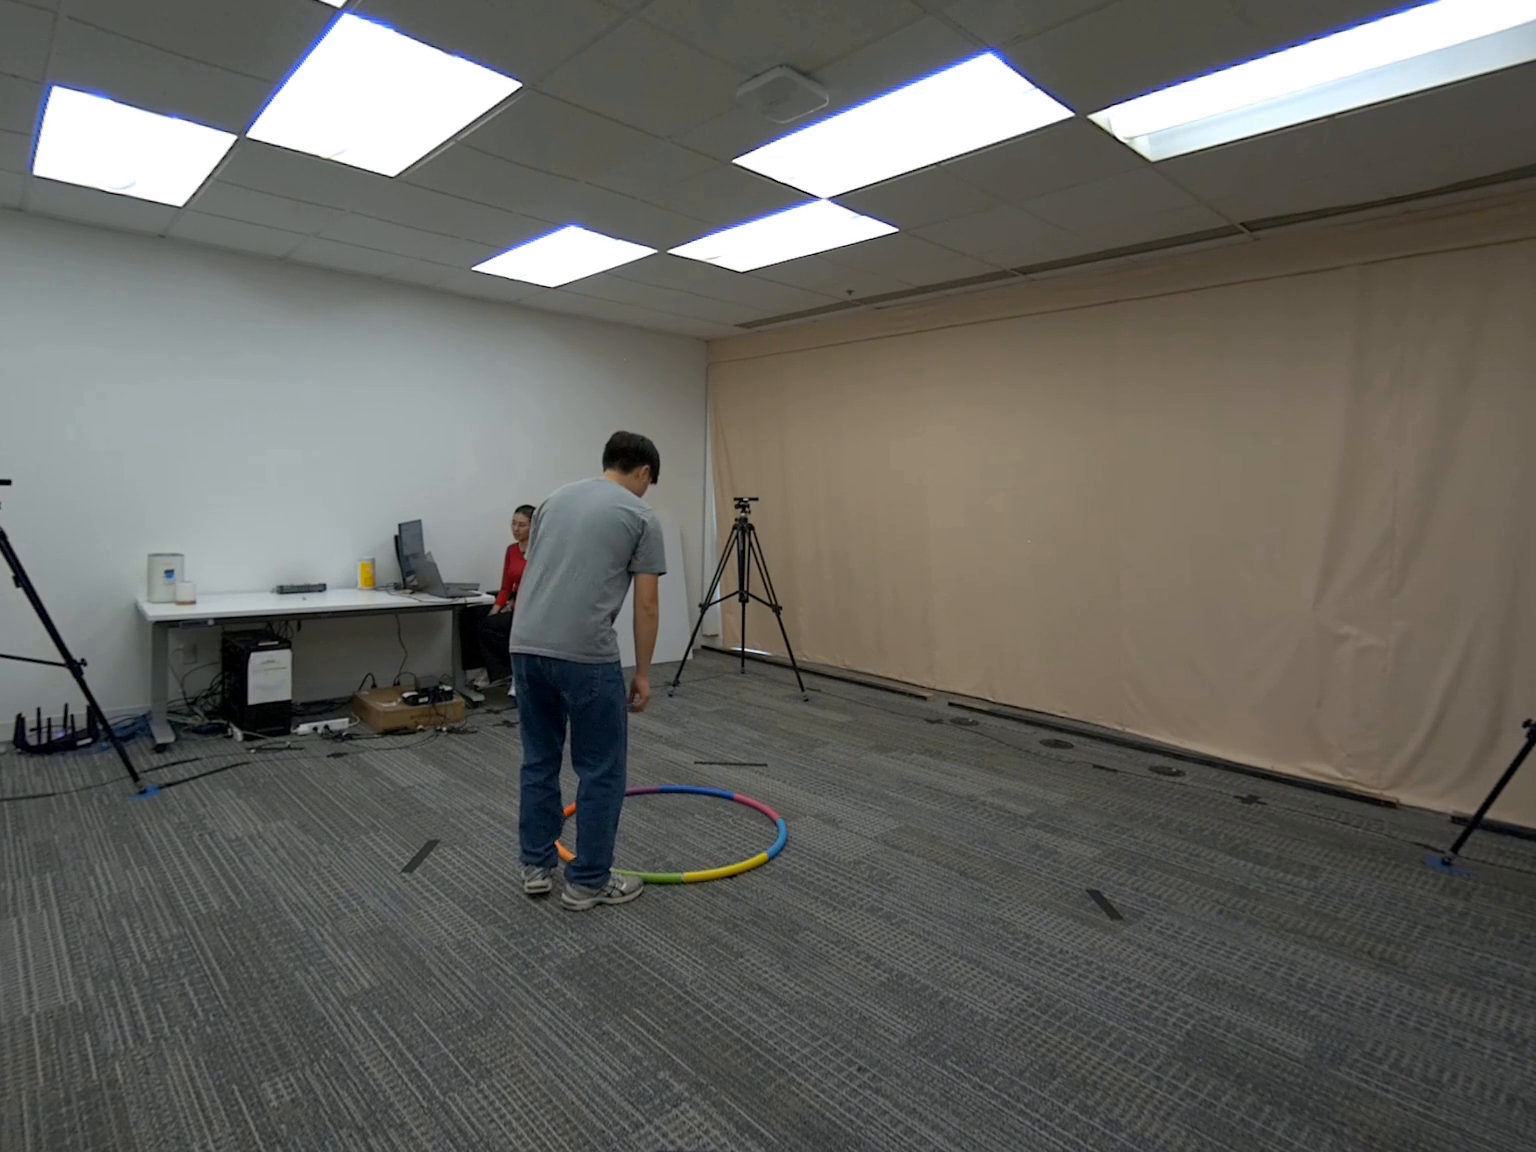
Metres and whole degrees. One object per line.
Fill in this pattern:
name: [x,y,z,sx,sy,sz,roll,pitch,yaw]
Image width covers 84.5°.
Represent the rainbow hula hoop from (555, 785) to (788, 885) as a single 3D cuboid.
rainbow hula hoop: [-0.427,1.035,3.510,0.978,0.035,0.982,2,5,-1]
